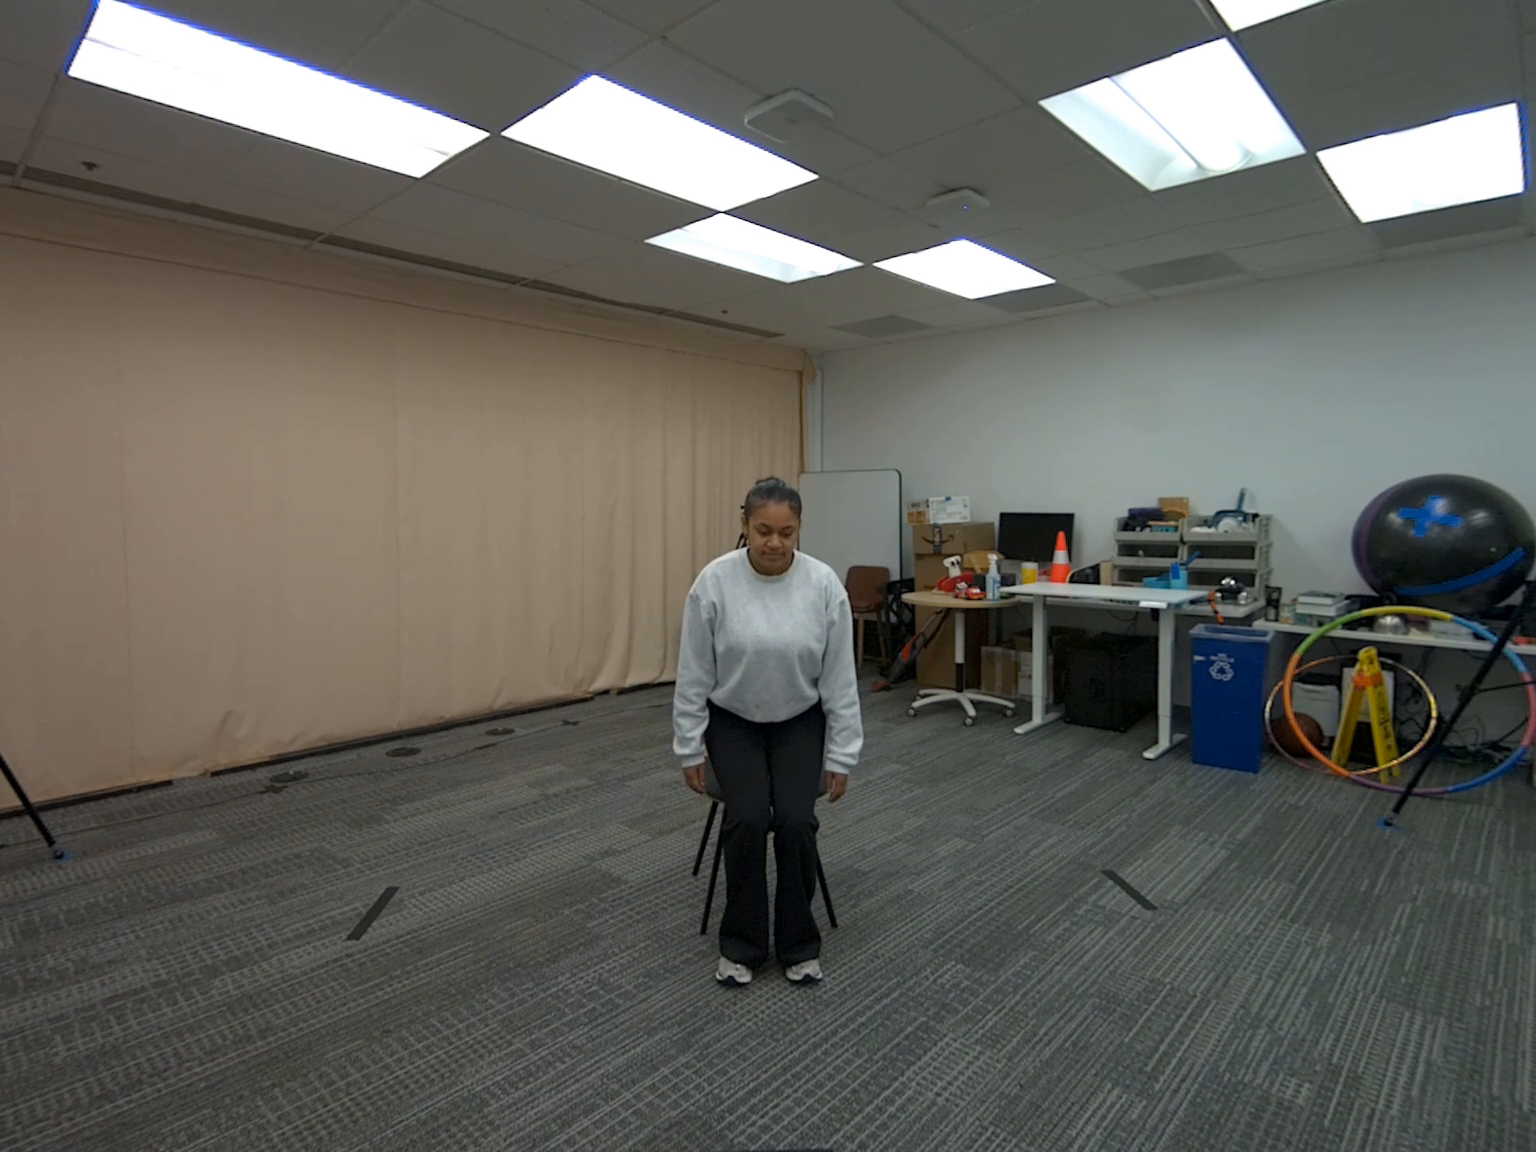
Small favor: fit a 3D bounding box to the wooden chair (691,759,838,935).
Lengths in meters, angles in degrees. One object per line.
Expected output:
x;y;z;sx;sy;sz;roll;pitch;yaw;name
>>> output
-0.025;0.717;2.939;0.474;0.878;0.527;0;-1;-8;wooden chair
